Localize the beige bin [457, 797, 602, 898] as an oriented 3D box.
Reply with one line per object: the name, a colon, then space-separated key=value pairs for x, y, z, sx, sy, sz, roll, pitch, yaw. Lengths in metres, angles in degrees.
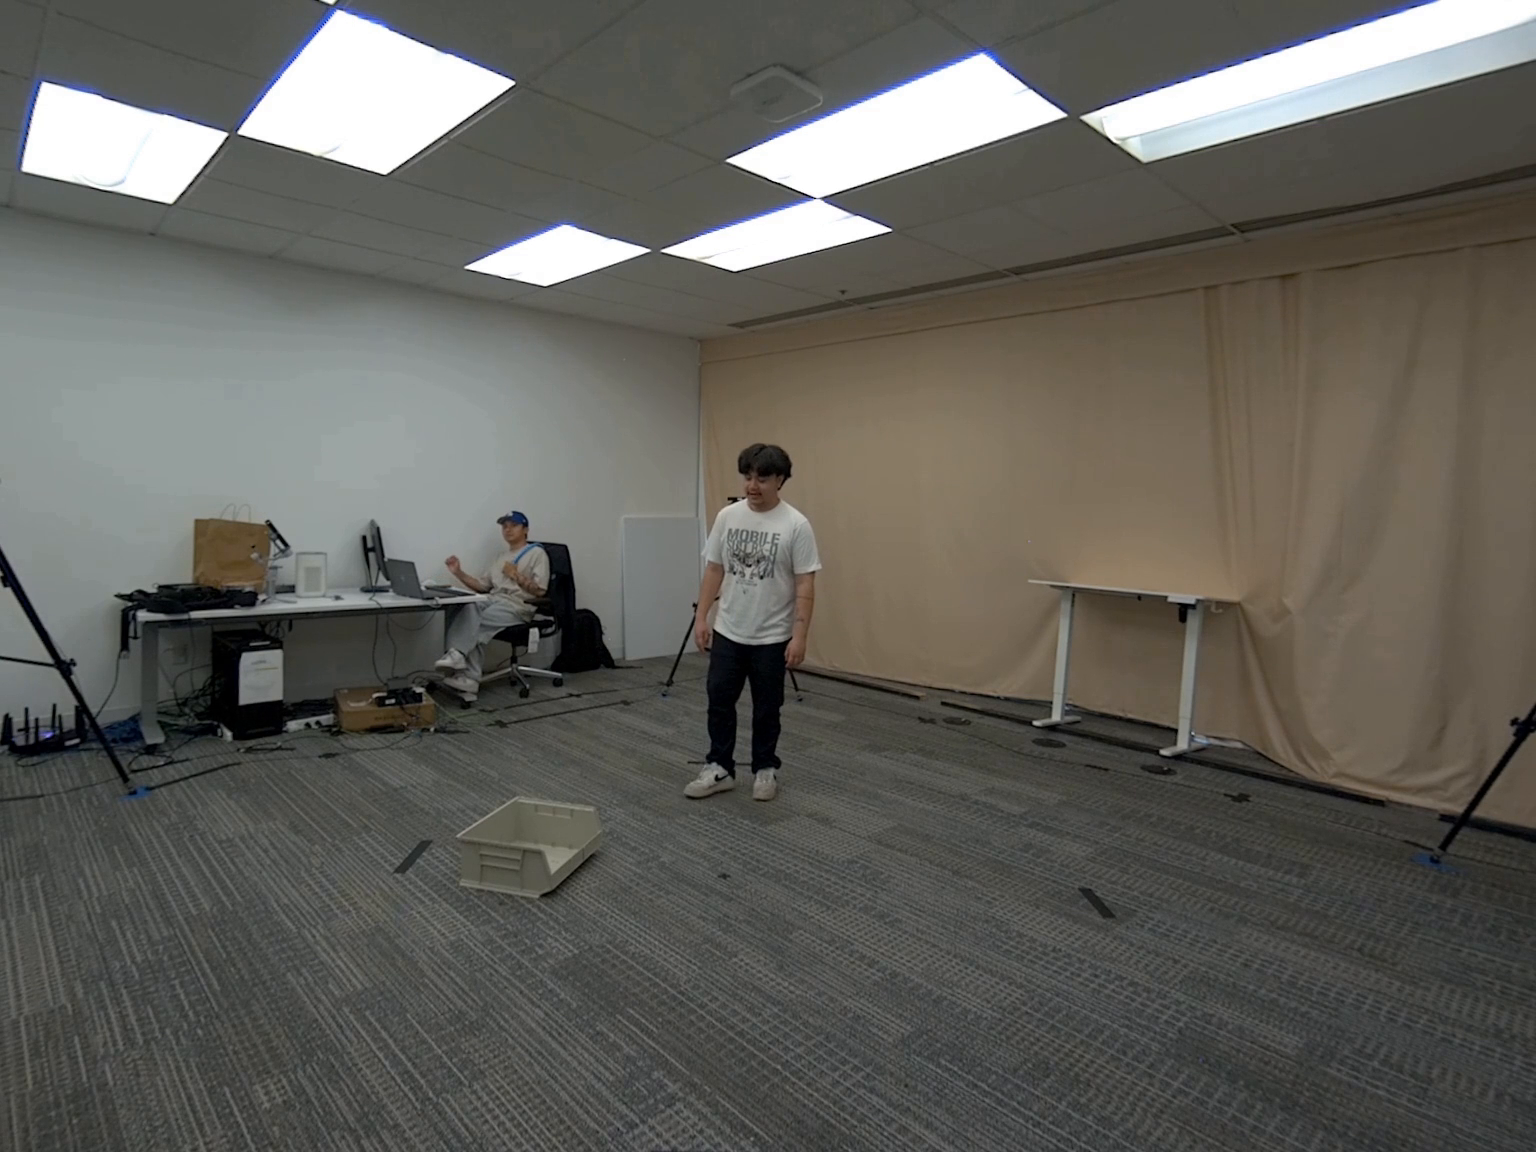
beige bin: x=-0.883 y=1.002 z=3.126 sx=0.382 sy=0.188 sz=0.419 roll=2 pitch=5 yaw=14
